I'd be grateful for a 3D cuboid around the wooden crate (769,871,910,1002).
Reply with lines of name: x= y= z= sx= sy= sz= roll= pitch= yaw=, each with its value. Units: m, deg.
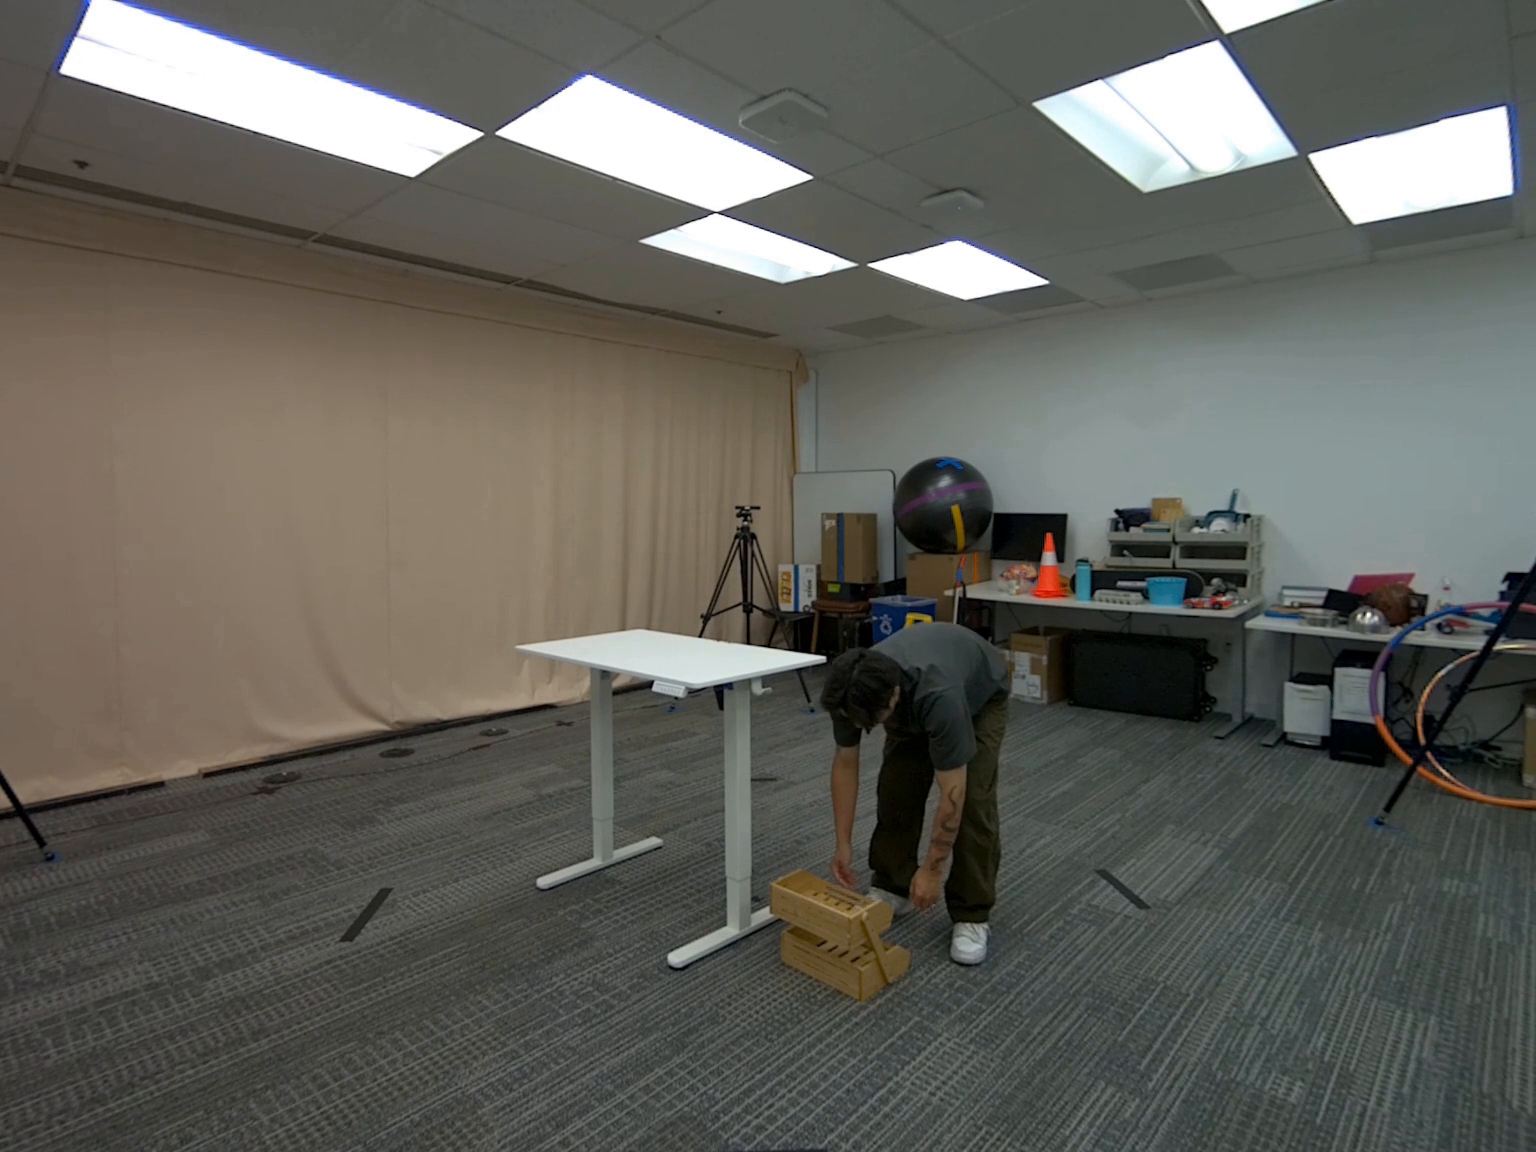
wooden crate: x=0.222 y=1.048 z=2.527 sx=0.335 sy=0.272 sz=0.293 roll=3 pitch=6 yaw=43
